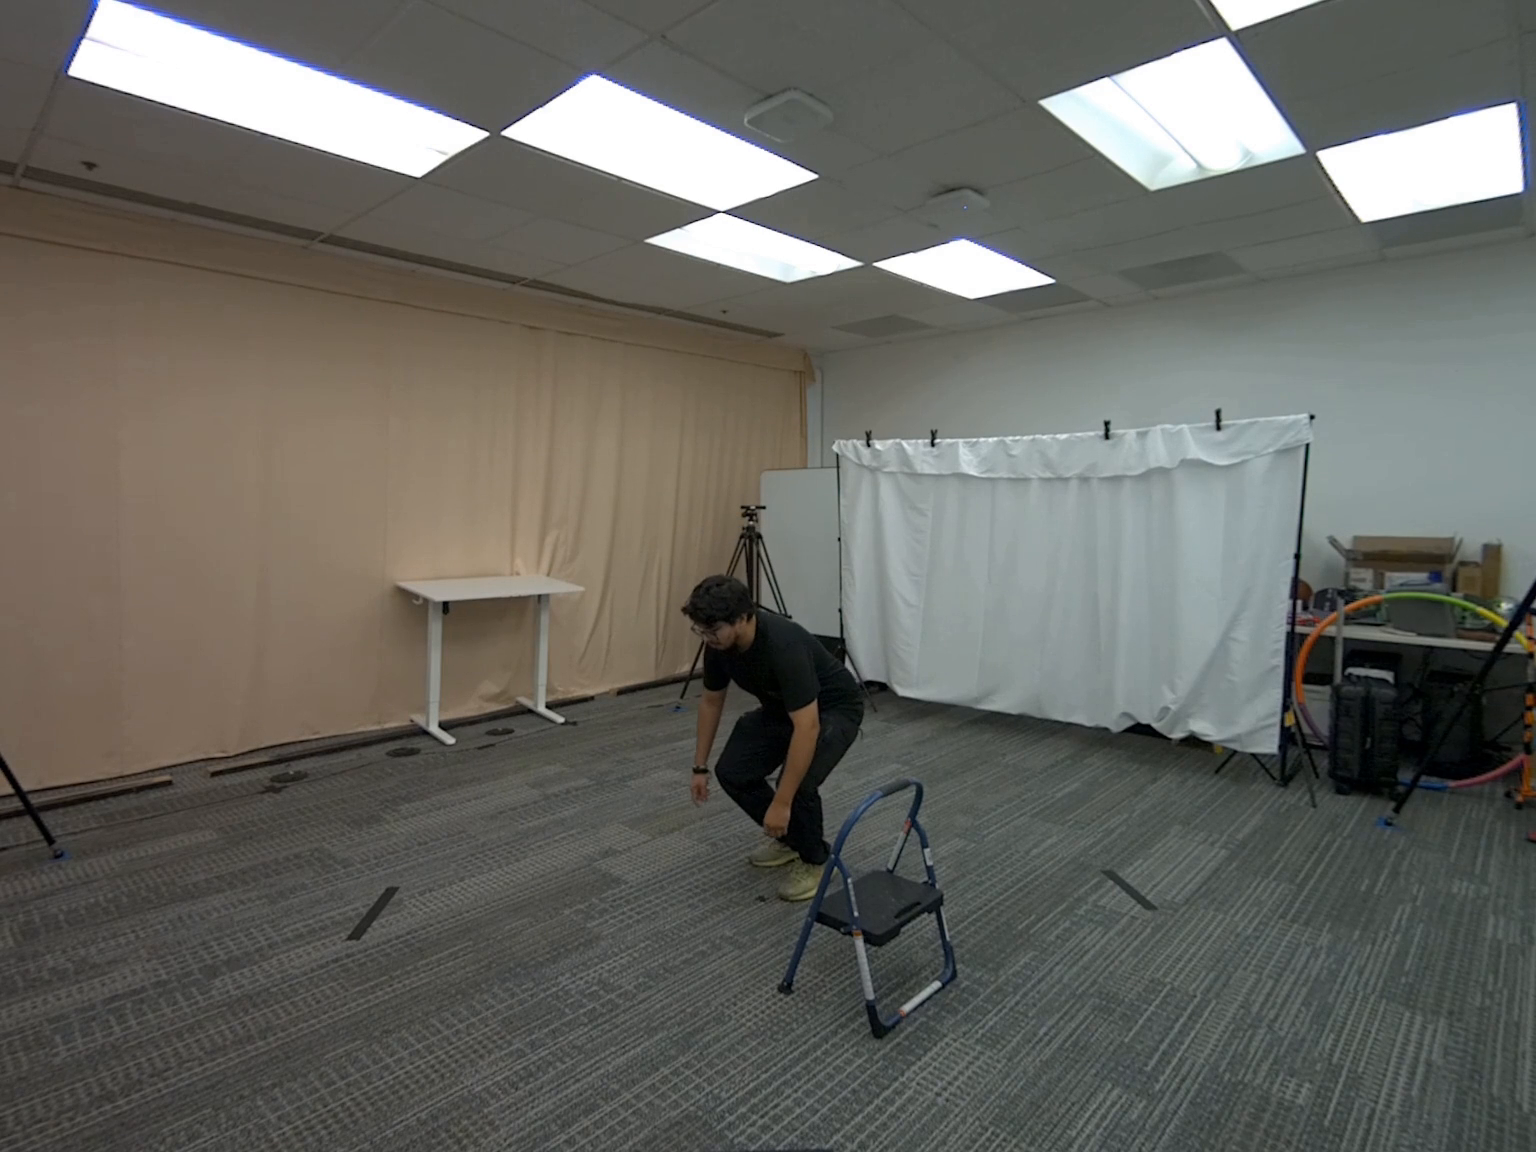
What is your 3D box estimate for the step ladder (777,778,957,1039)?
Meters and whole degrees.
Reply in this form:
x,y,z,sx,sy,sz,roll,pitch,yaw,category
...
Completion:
x,y,z,sx,sy,sz,roll,pitch,yaw,category
0.299,0.890,2.435,0.361,0.604,0.418,3,6,41,step ladder
